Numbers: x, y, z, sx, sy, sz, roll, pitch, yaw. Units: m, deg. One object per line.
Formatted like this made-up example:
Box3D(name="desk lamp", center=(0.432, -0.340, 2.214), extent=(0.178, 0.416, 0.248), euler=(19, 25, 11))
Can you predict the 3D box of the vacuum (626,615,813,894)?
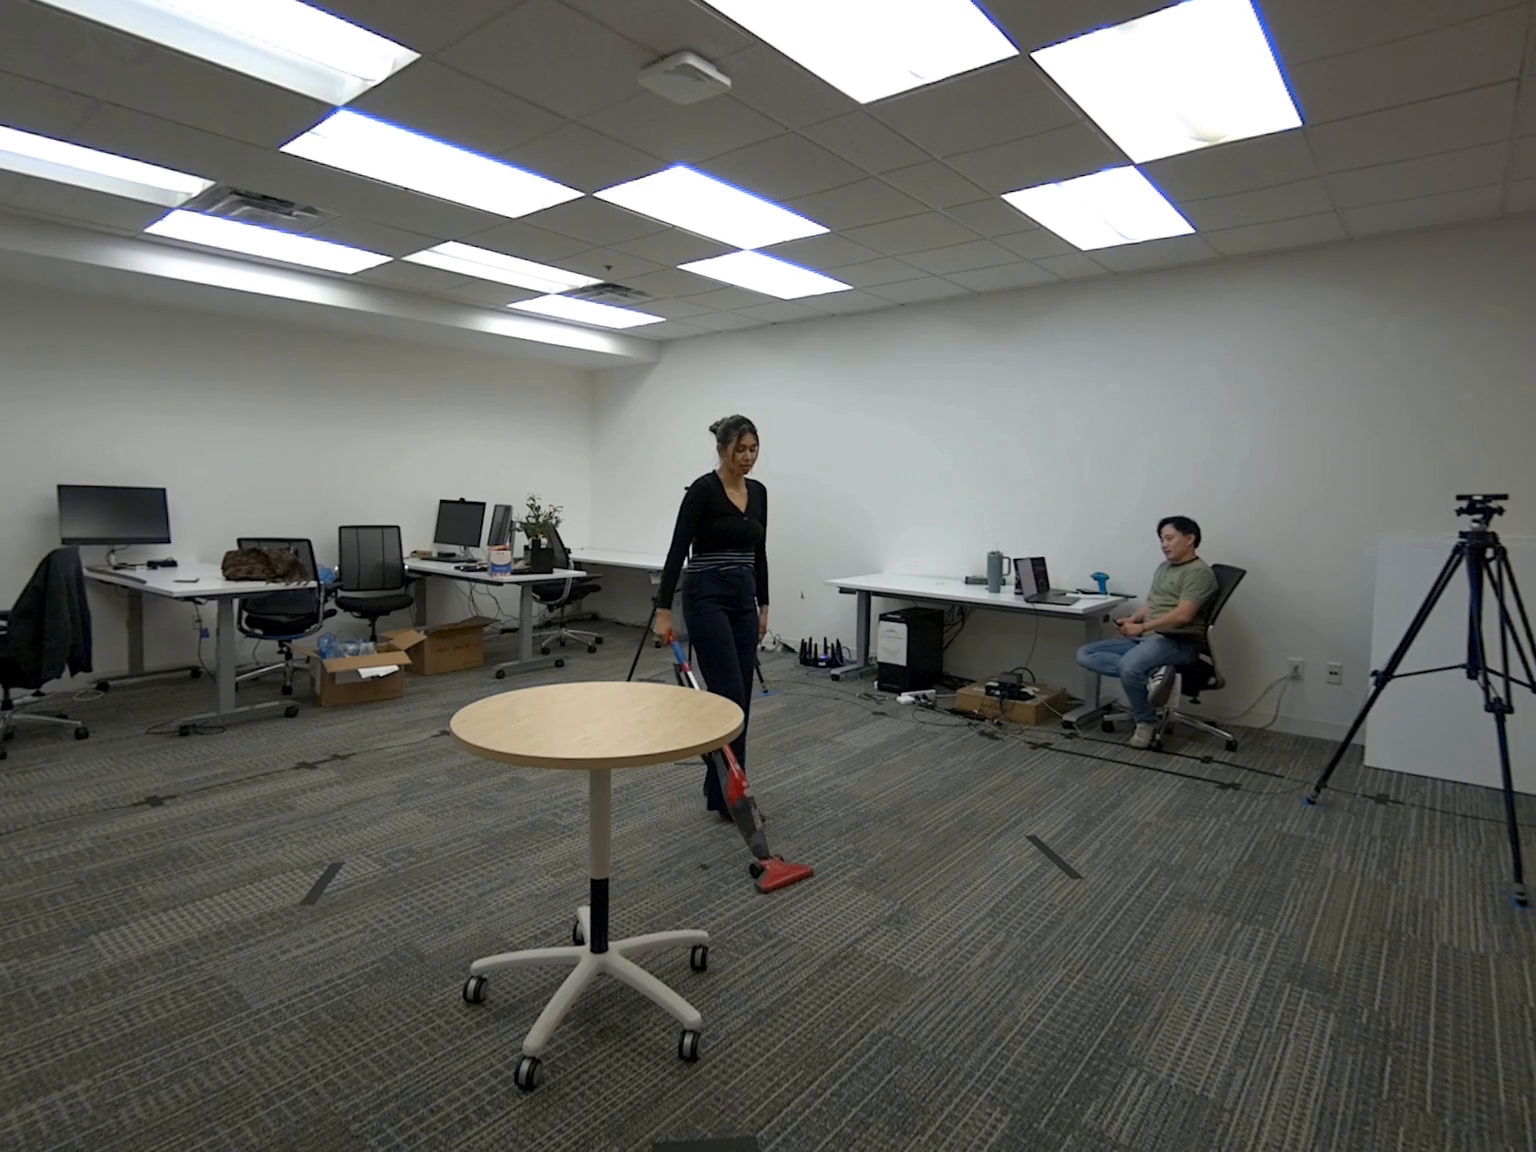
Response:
Box3D(name="vacuum", center=(-0.198, 0.664, 3.277), extent=(0.245, 1.086, 0.143), euler=(-1, -40, -44))
